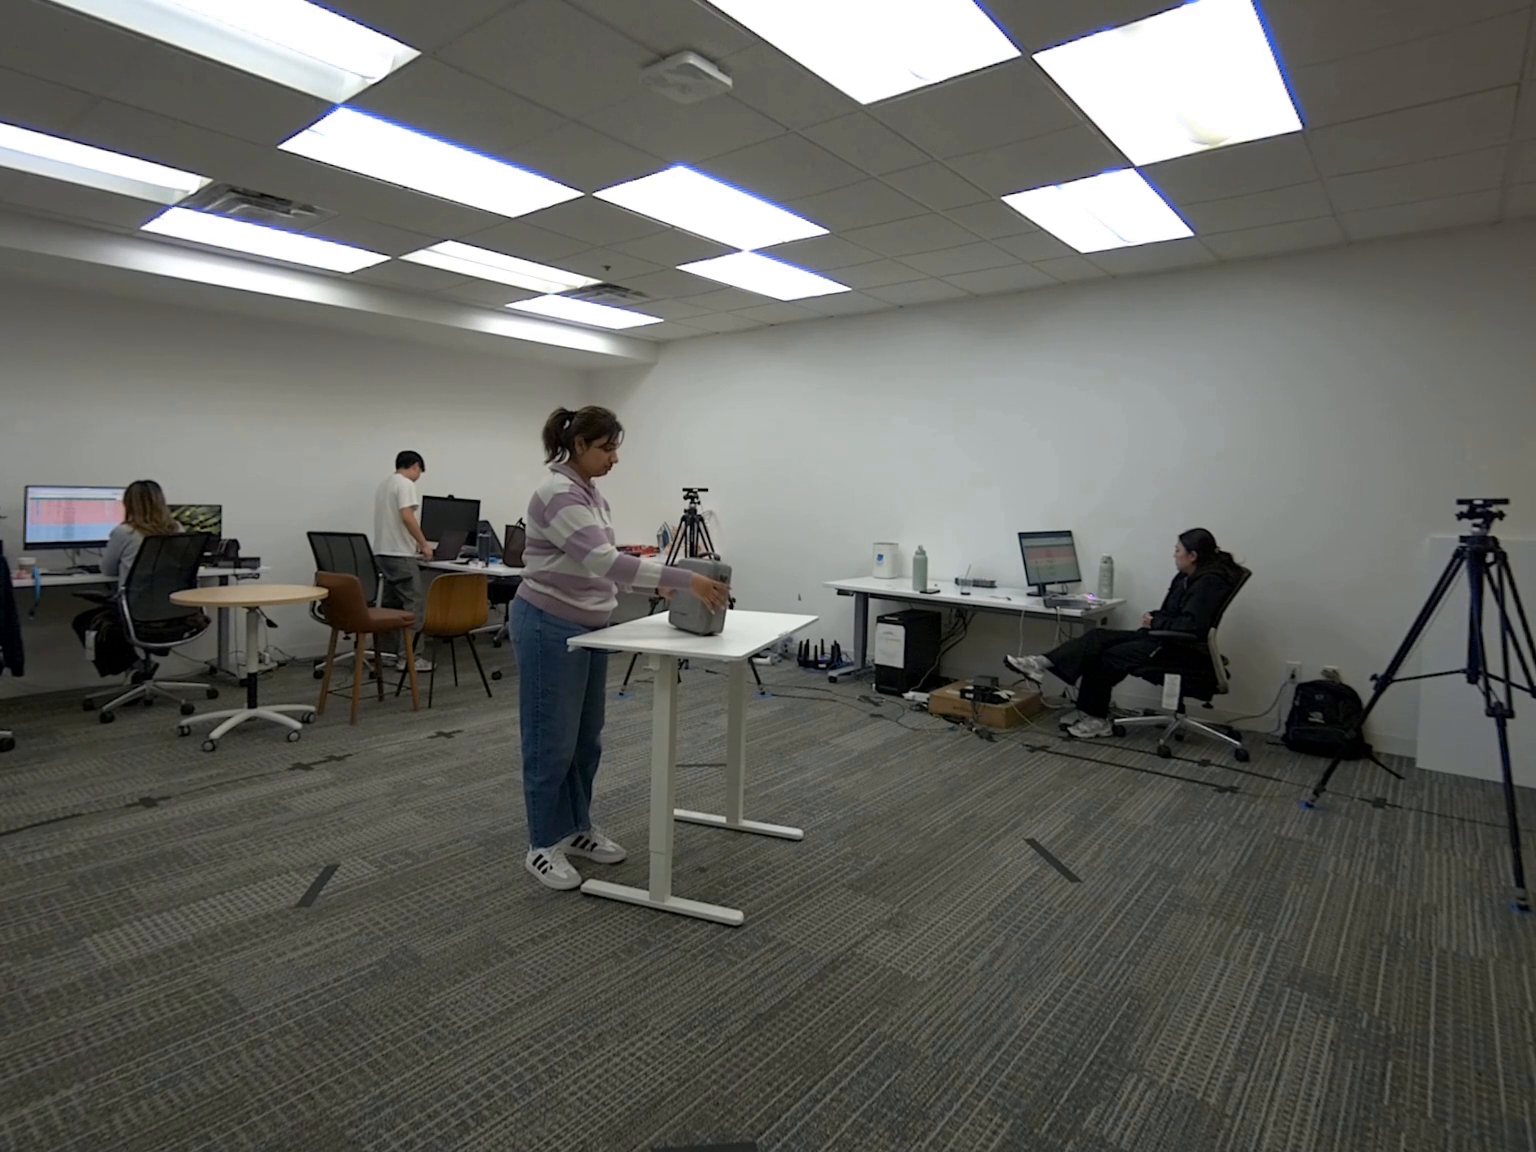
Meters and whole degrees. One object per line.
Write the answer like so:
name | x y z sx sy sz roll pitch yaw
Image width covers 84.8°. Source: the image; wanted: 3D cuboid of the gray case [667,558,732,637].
gray case | -0.253 0.064 3.017 0.101 0.261 0.264 12 -3 -30
